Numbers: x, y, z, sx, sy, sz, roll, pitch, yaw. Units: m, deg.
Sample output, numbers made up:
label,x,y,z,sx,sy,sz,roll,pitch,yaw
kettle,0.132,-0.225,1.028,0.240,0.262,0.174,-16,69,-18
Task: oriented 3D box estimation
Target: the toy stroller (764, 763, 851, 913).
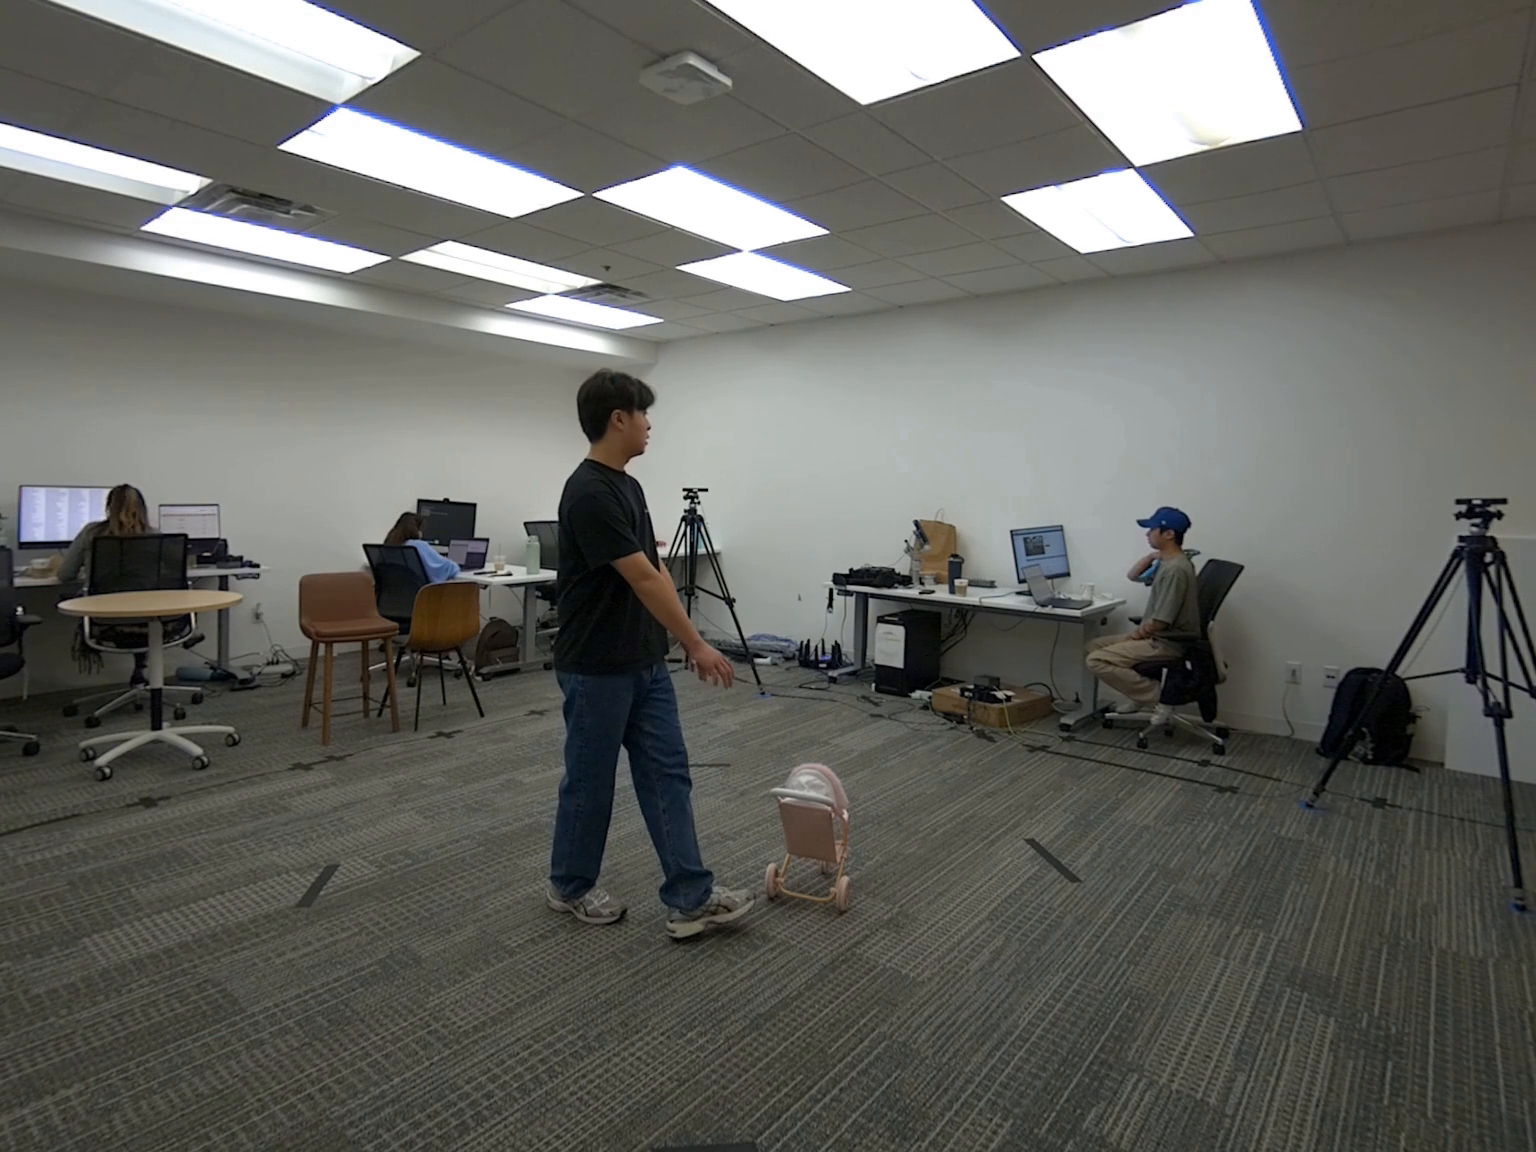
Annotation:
label,x,y,z,sx,sy,sz,roll,pitch,yaw
toy stroller,0.151,0.871,2.922,0.288,0.525,0.339,4,20,22
